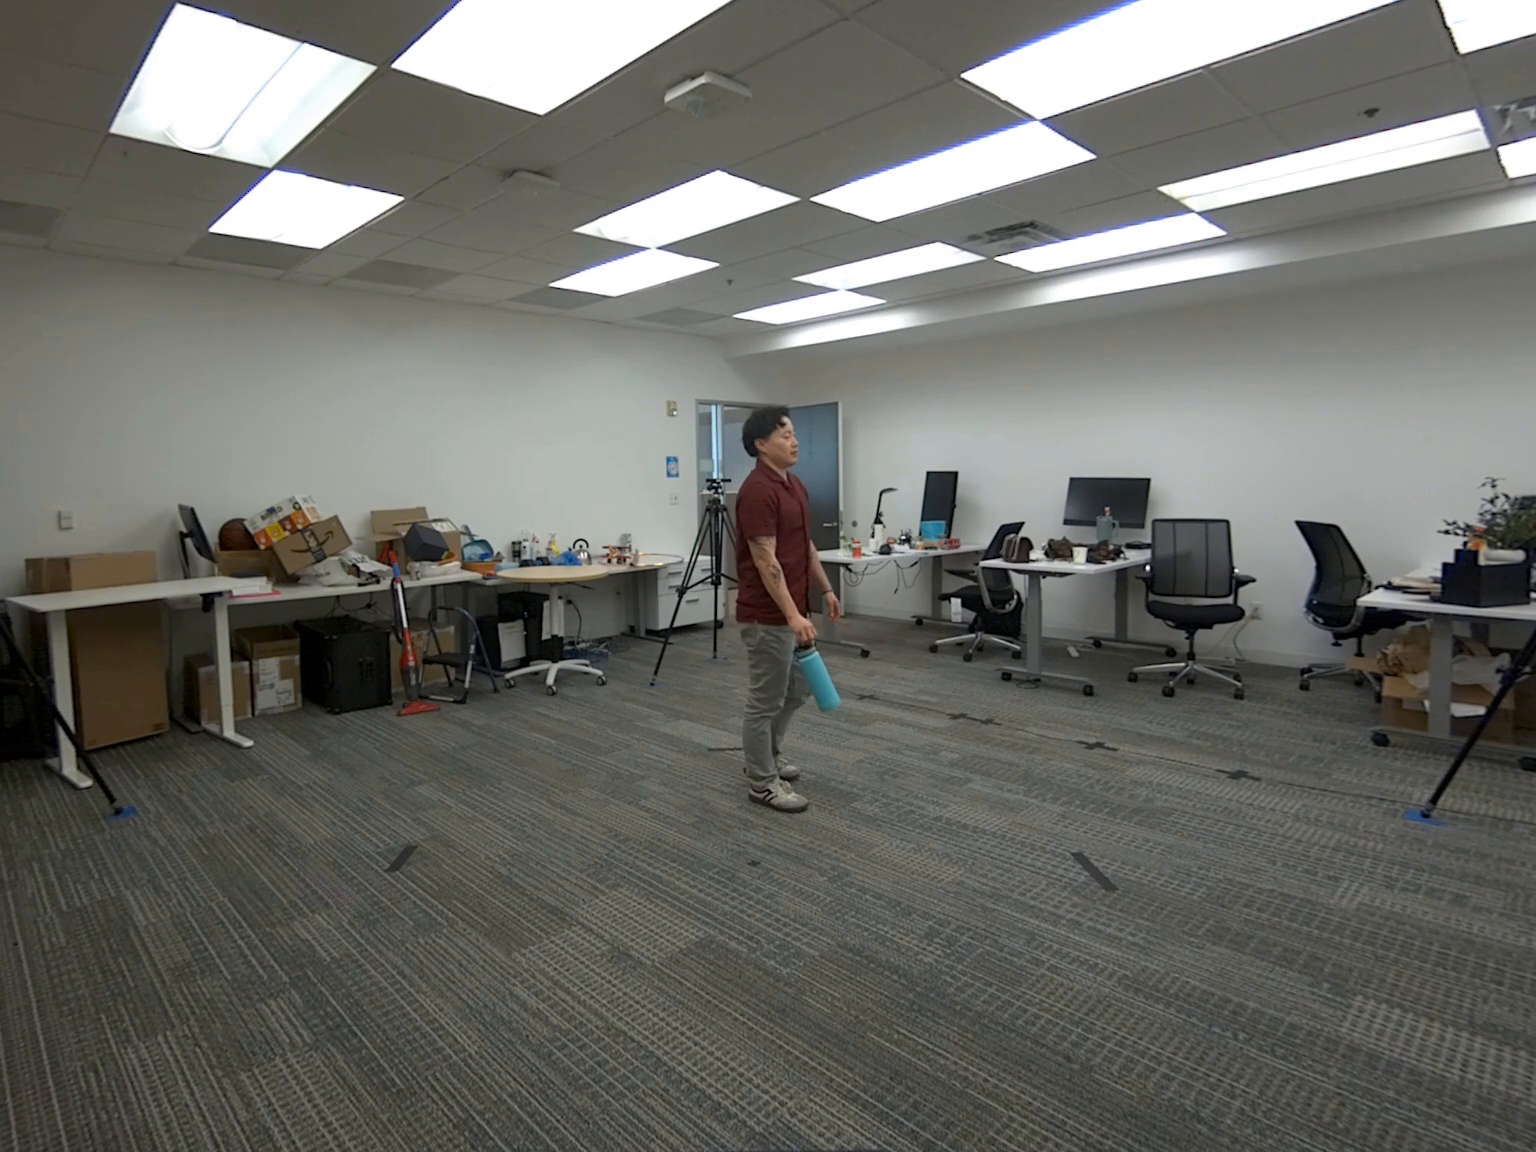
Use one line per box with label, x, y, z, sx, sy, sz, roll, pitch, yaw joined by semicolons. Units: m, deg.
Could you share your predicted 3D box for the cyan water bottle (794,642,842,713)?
cyan water bottle;0.173;0.393;3.344;0.092;0.283;0.092;-23;2;0
